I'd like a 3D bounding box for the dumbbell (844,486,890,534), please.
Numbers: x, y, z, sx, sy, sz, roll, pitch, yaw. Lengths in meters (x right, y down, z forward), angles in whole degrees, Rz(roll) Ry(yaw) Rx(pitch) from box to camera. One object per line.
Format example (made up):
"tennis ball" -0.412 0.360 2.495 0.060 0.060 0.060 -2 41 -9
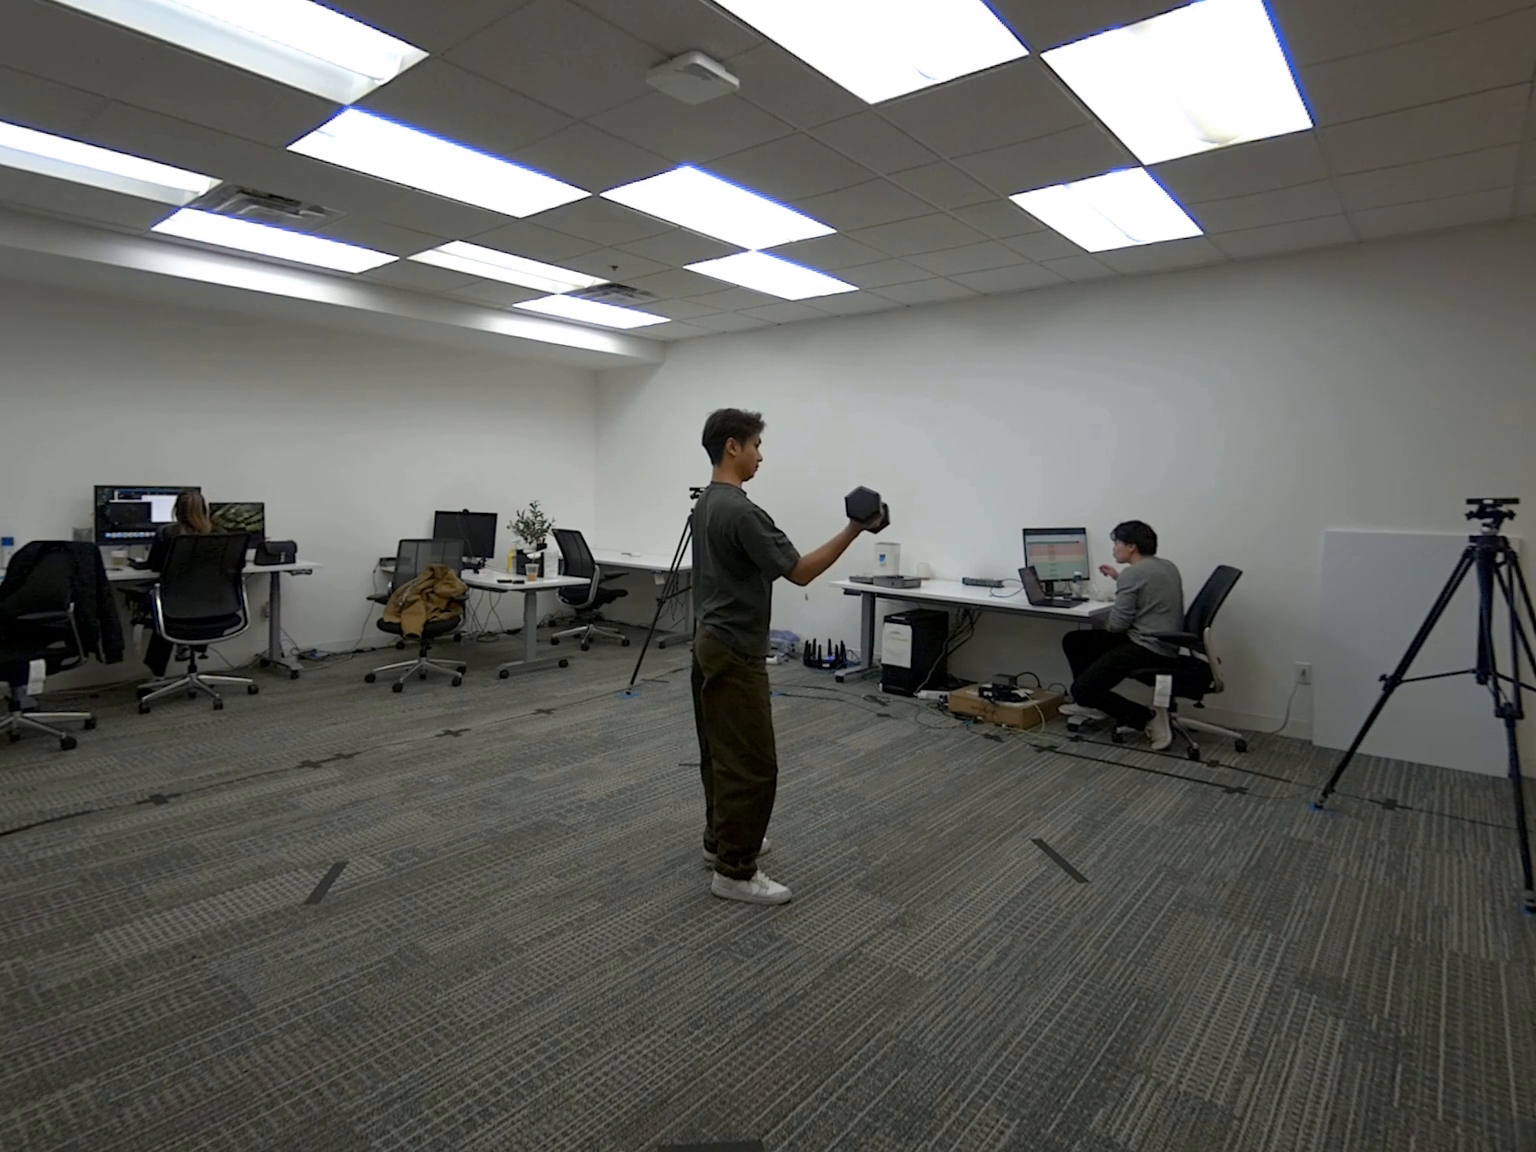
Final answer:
"dumbbell" 0.314 -0.221 2.790 0.110 0.124 0.288 -10 -5 13
